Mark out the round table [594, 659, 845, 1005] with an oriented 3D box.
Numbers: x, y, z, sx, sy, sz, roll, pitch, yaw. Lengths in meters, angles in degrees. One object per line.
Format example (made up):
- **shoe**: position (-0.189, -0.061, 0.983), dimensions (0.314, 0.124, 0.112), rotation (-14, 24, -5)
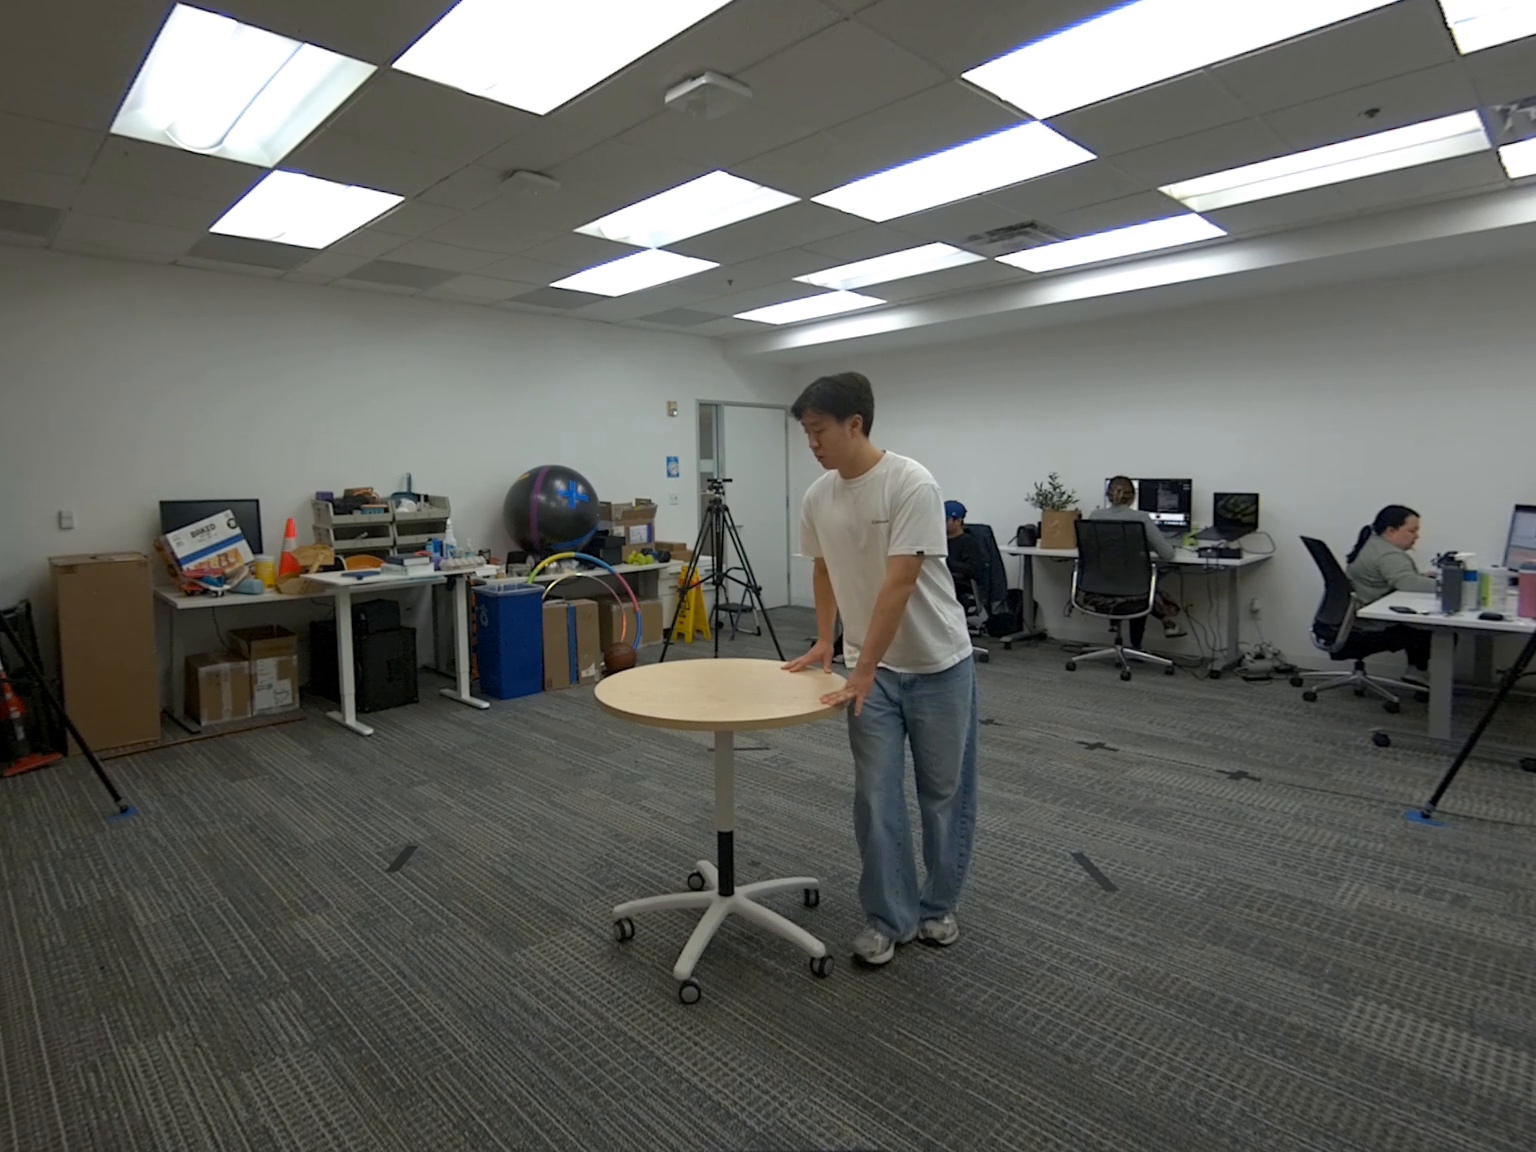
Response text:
- **round table**: position (-0.122, 0.718, 2.591), dimensions (0.763, 0.791, 0.768), rotation (-1, 5, -2)
